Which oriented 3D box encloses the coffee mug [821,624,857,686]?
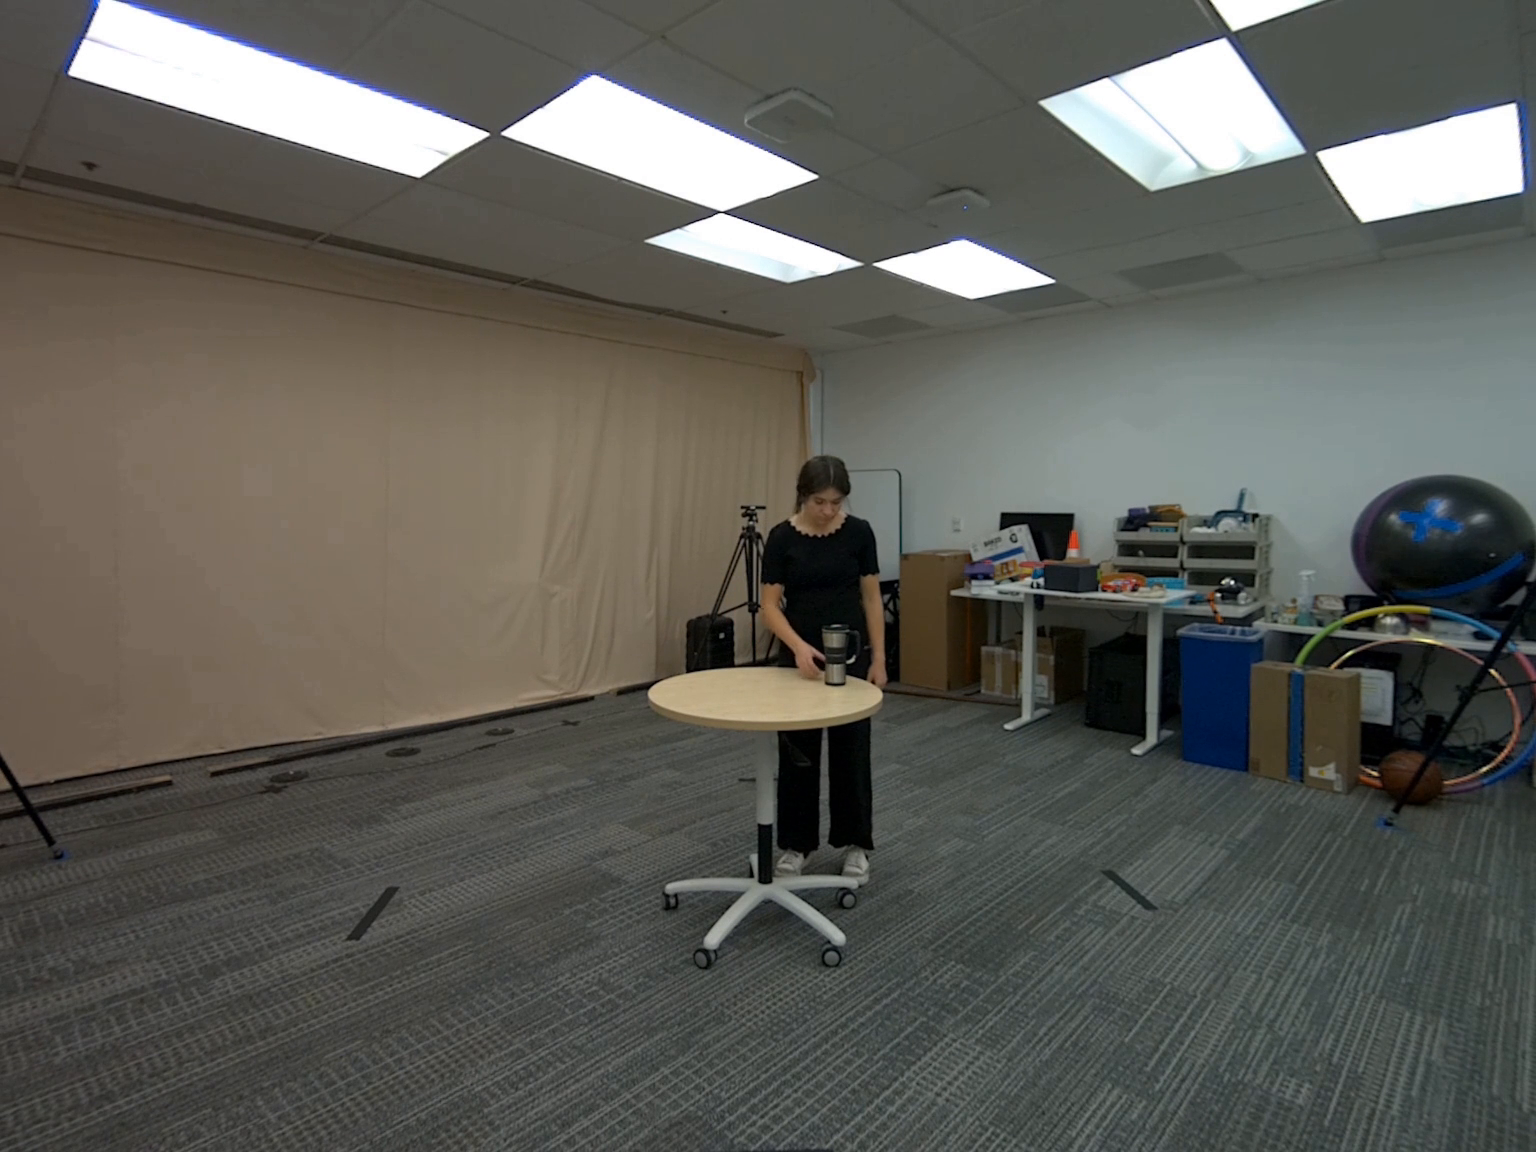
[{"bbox_3d":[0.250,0.270,2.842,0.085,0.203,0.126,1,-1,-44],"label":"coffee mug"}]
